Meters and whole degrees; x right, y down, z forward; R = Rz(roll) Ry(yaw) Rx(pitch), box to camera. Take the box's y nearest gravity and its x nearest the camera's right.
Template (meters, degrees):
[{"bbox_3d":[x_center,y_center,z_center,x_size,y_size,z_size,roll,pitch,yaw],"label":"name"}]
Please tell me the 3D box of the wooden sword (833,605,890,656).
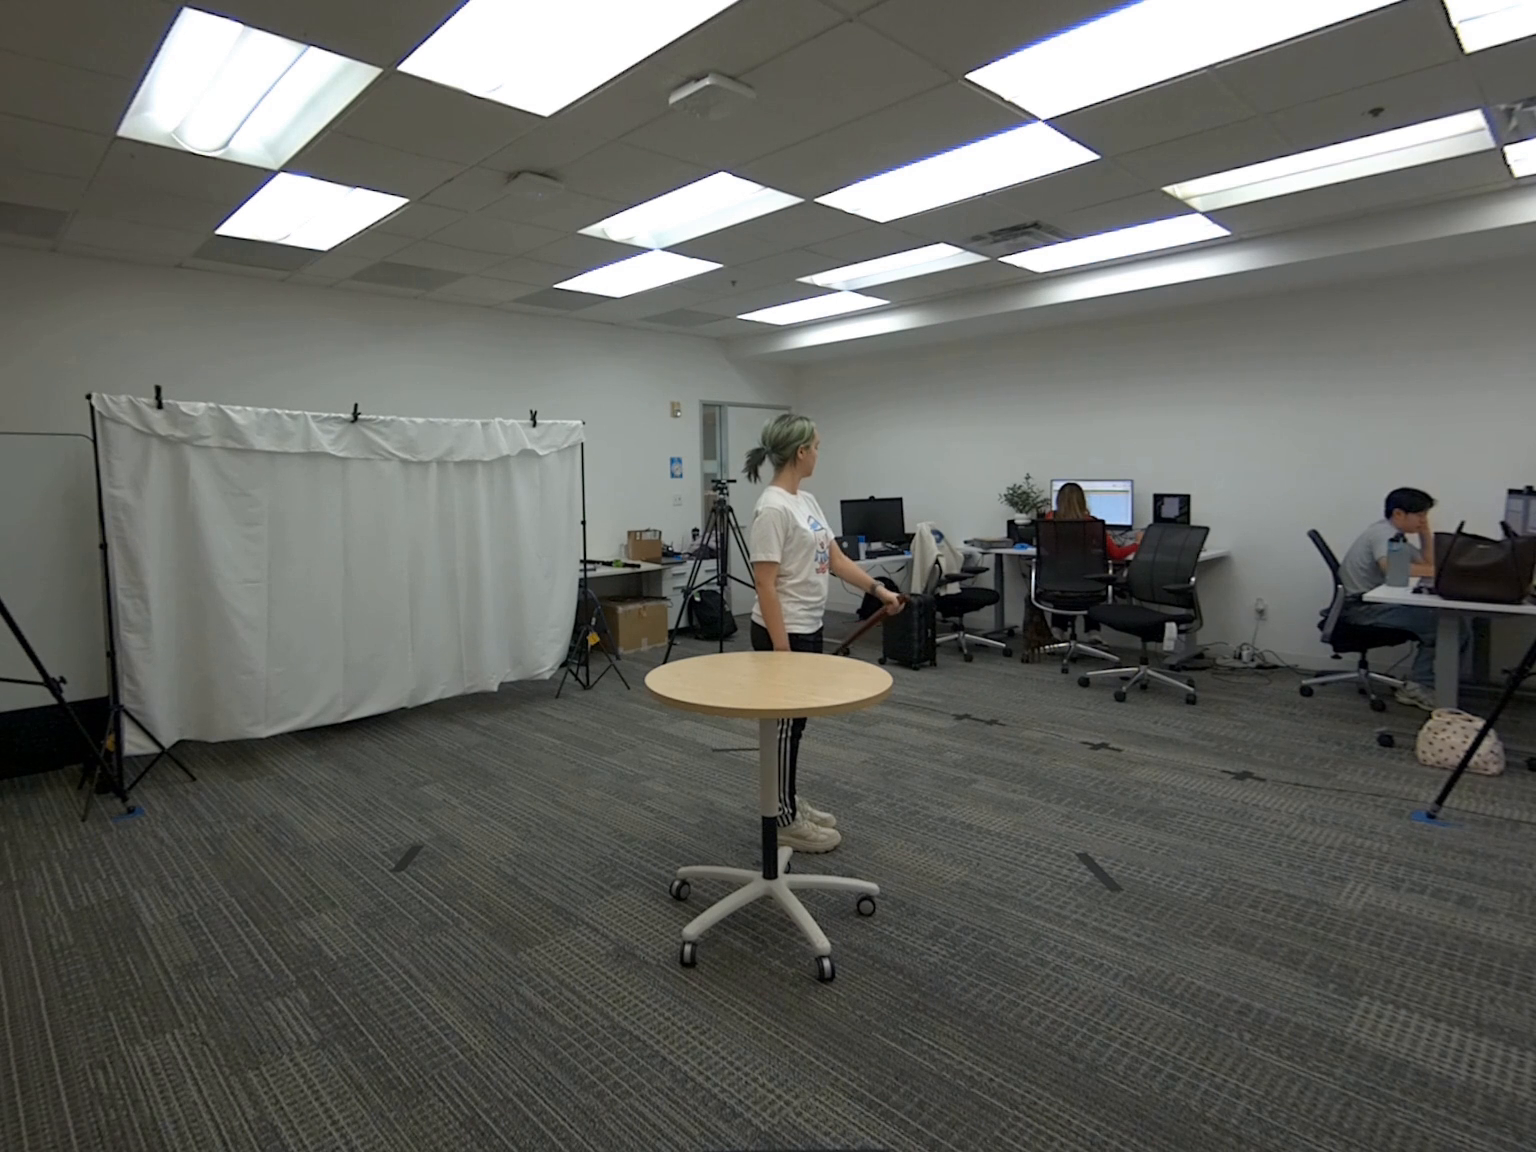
[{"bbox_3d":[0.284,0.329,3.563,0.023,0.052,1.022,-13,-22,-35],"label":"wooden sword"}]
